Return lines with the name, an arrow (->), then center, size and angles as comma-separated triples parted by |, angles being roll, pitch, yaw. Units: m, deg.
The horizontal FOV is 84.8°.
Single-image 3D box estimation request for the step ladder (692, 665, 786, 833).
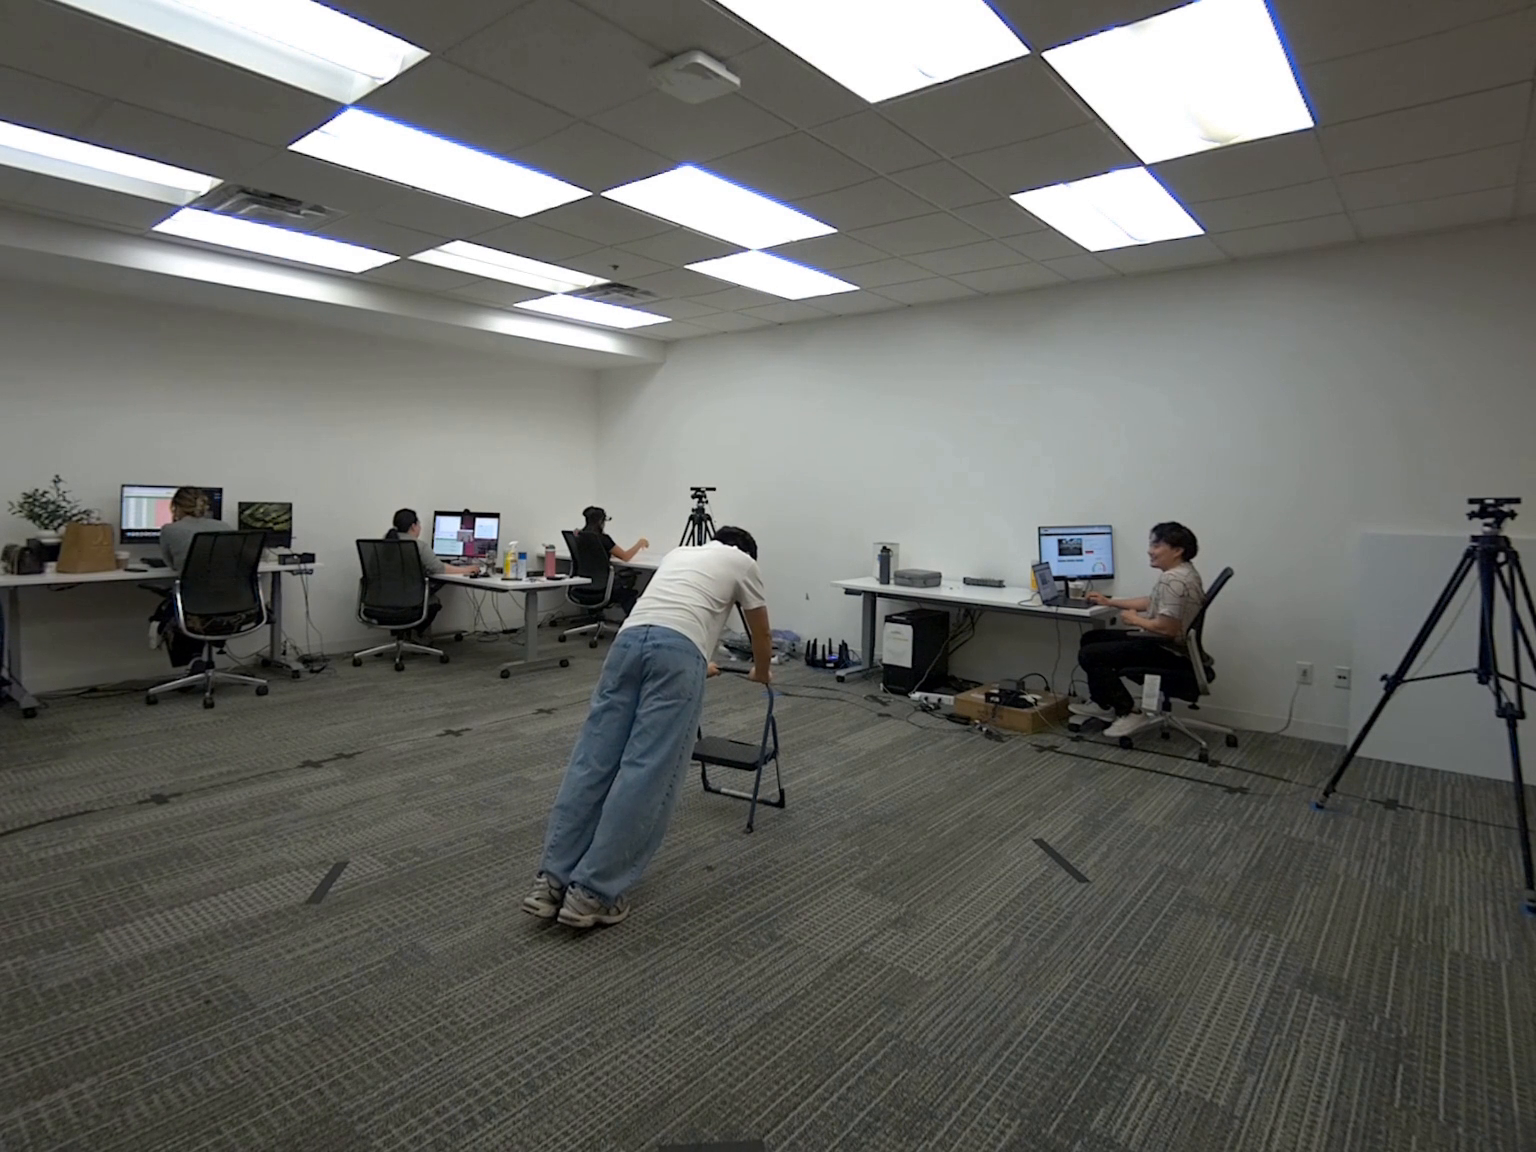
step ladder -> -0.182, 0.707, 3.677 | 0.443, 0.605, 0.340 | 3, 3, 28
